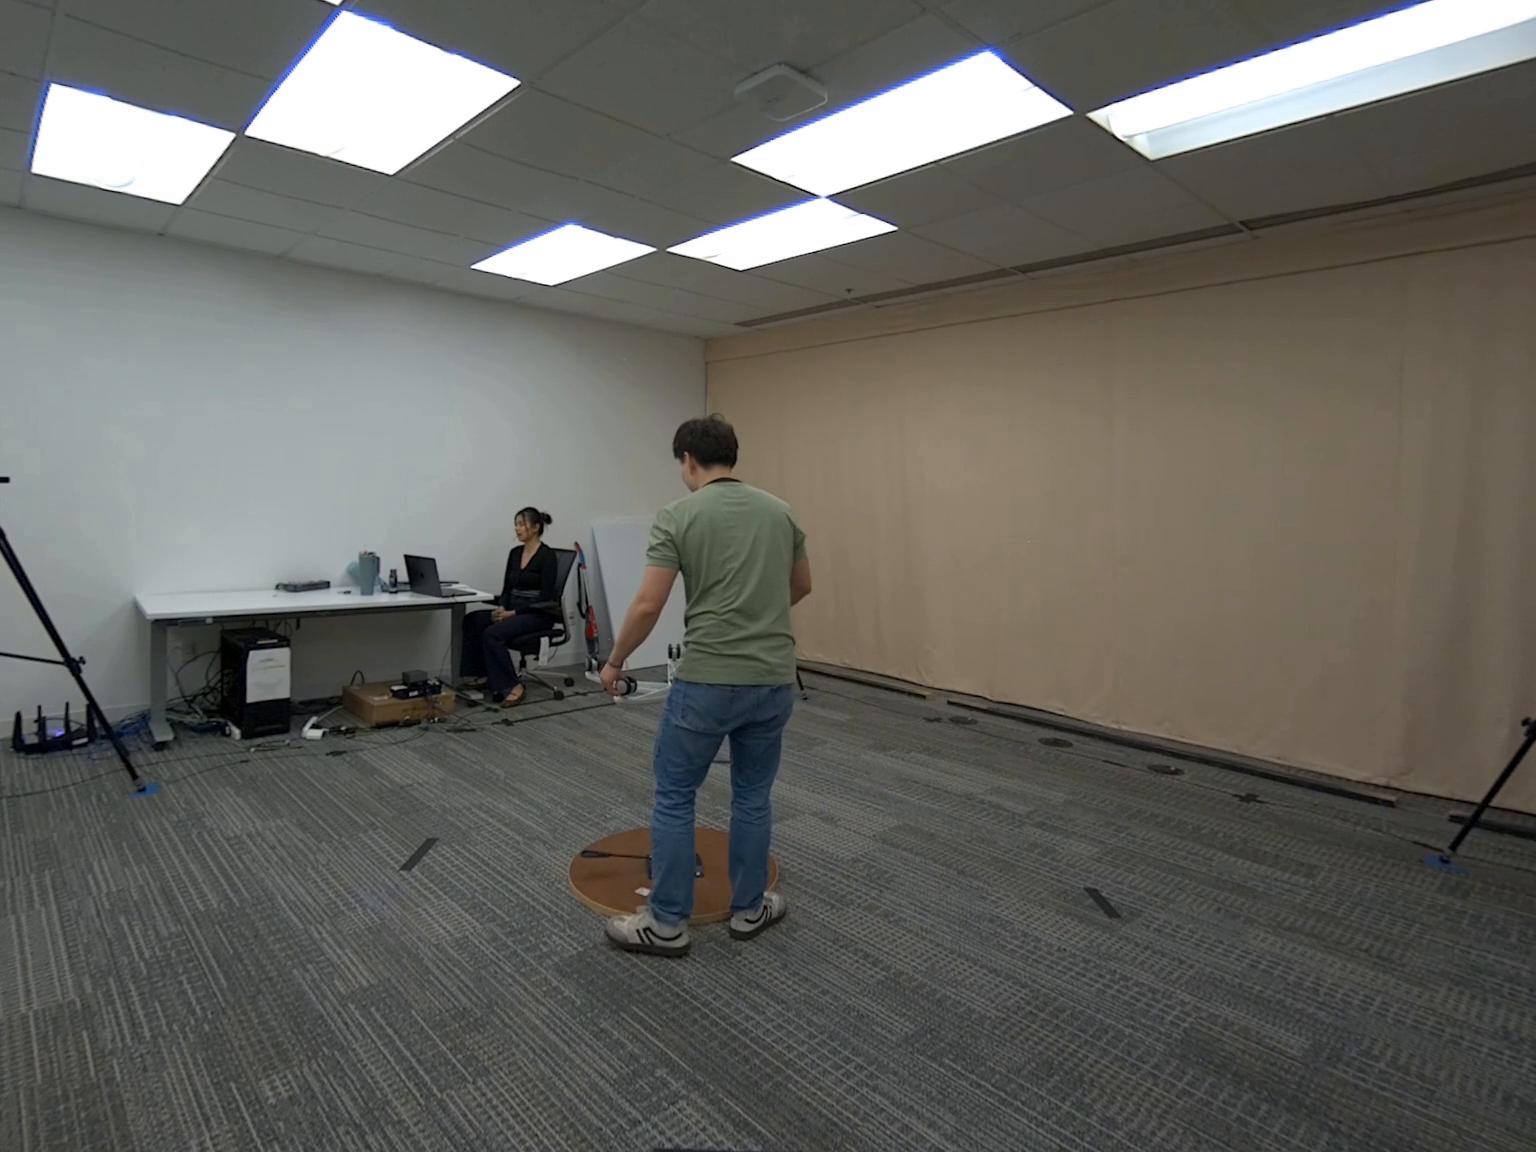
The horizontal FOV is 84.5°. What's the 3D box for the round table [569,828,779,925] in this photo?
[{"bbox_3d":[-0.347,0.704,3.085,0.763,0.792,0.767,2,4,-1],"label":"round table"}]
